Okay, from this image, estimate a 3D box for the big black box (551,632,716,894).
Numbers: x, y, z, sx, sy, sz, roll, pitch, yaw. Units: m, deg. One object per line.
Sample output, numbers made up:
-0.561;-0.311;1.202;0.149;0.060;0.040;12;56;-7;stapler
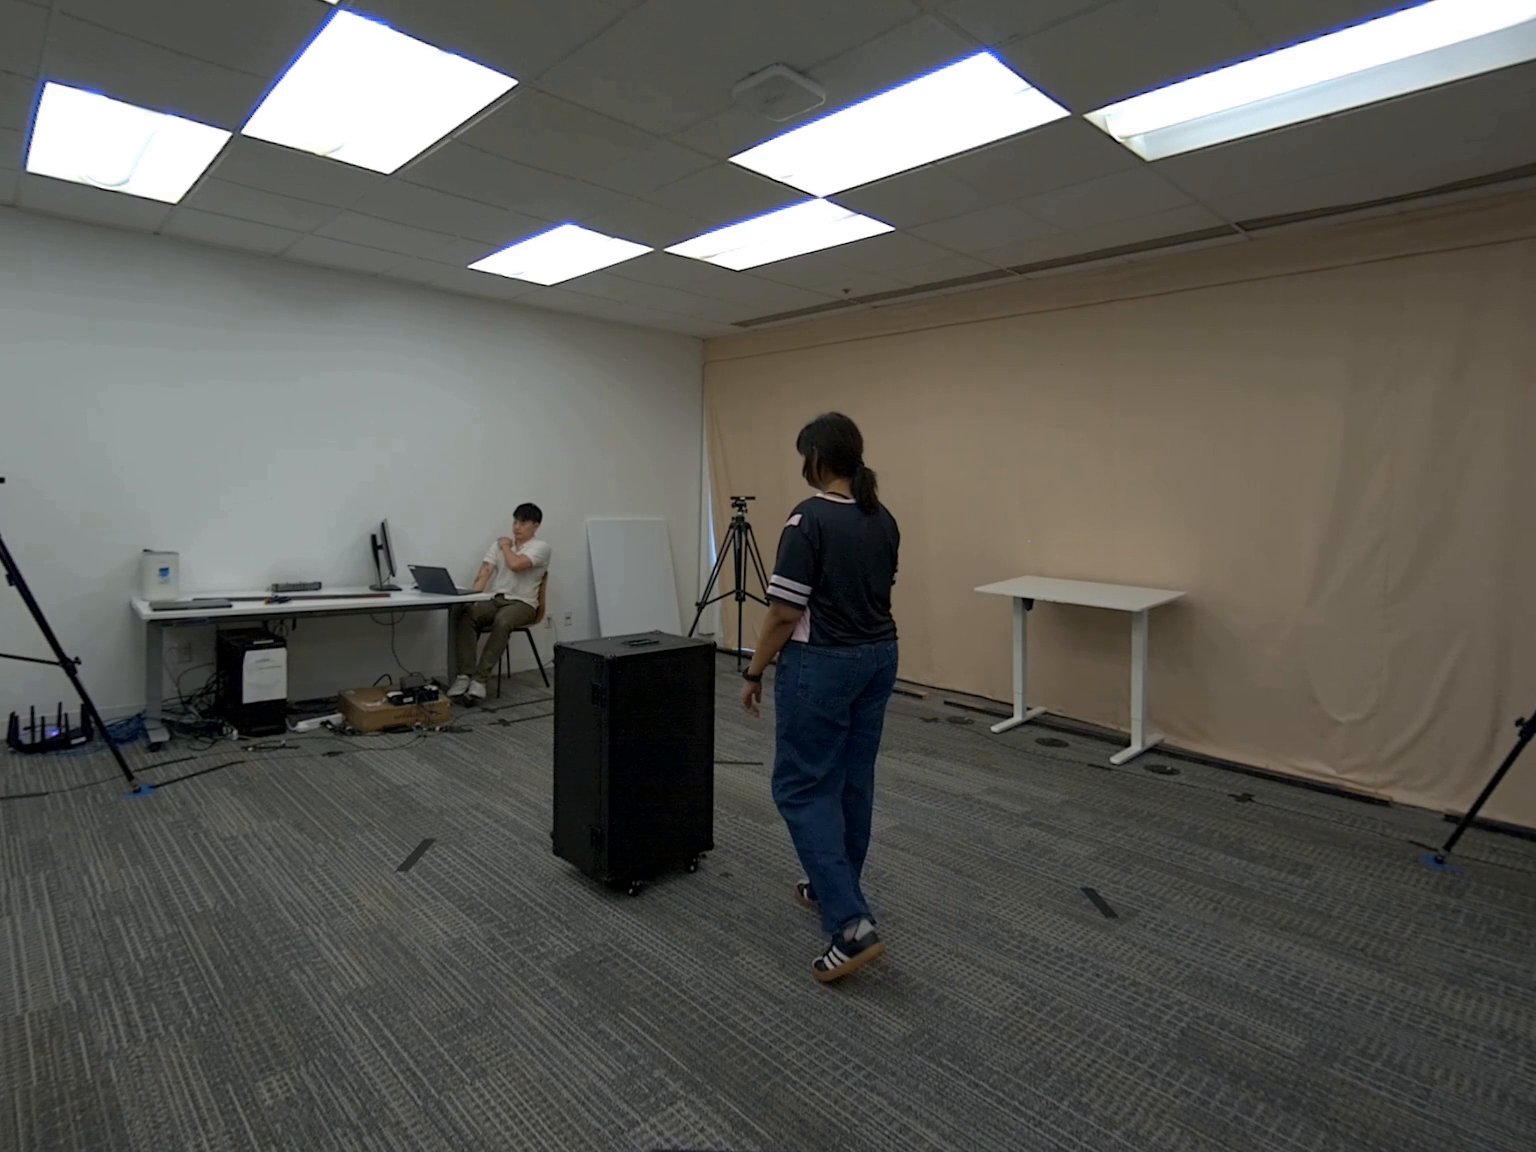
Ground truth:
-0.509;0.677;3.111;0.511;0.867;0.395;-2;4;-44;big black box
